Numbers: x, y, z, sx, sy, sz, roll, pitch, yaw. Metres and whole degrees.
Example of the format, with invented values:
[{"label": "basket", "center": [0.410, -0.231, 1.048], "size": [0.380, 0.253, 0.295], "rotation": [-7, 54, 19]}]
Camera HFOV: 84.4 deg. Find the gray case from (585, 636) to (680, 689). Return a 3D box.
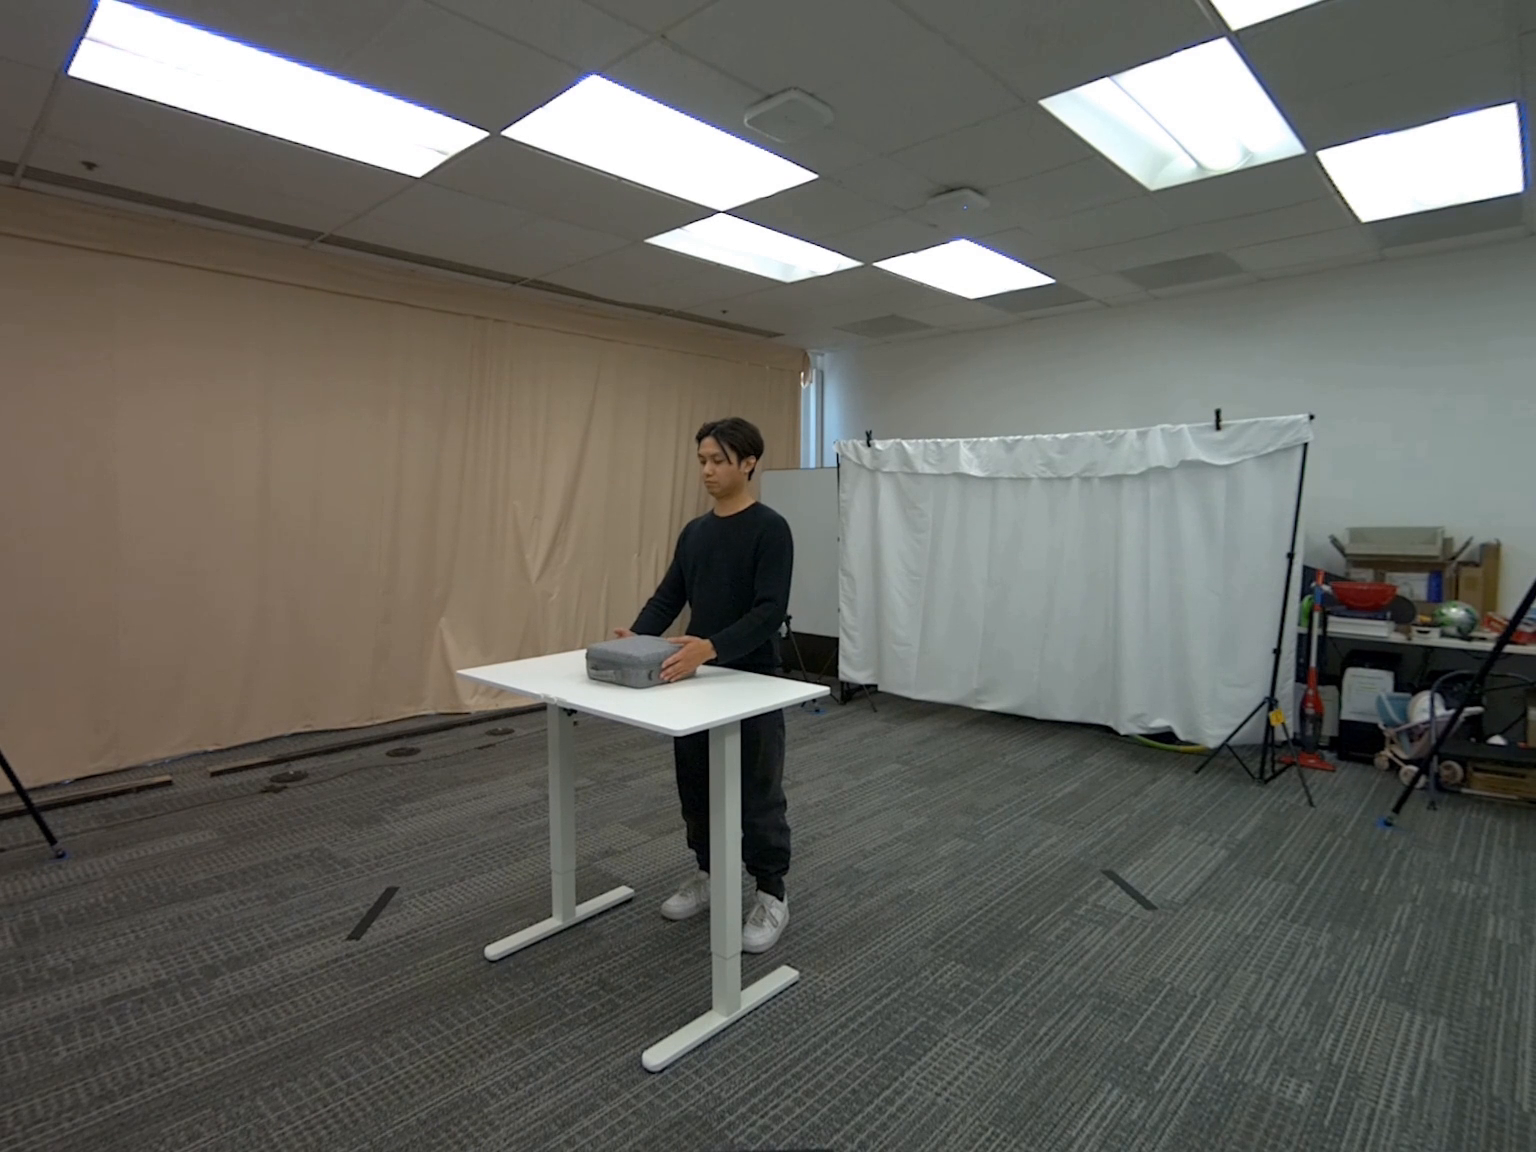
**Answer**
[{"label": "gray case", "center": [-0.379, 0.251, 2.509], "size": [0.265, 0.104, 0.253], "rotation": [6, 10, 38]}]
